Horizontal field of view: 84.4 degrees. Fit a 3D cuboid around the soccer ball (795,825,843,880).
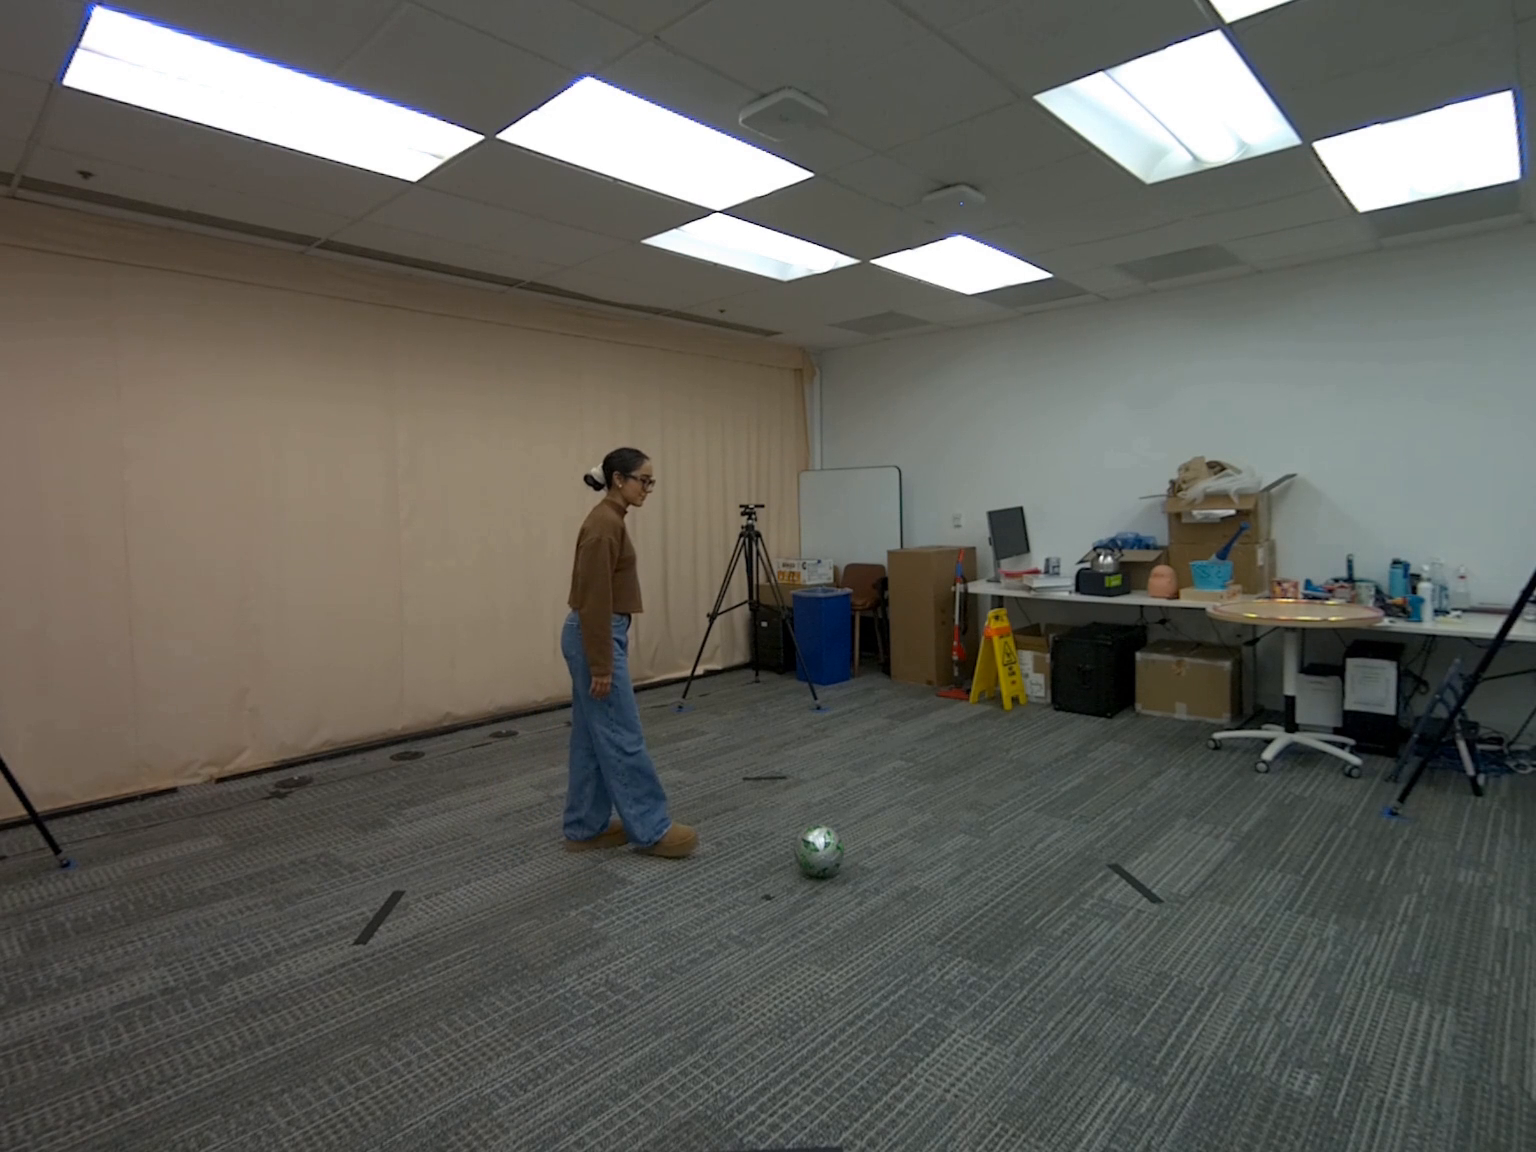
[{"bbox_3d":[0.195,1.022,3.152,0.187,0.187,0.188,-1,4,-2],"label":"soccer ball"}]
